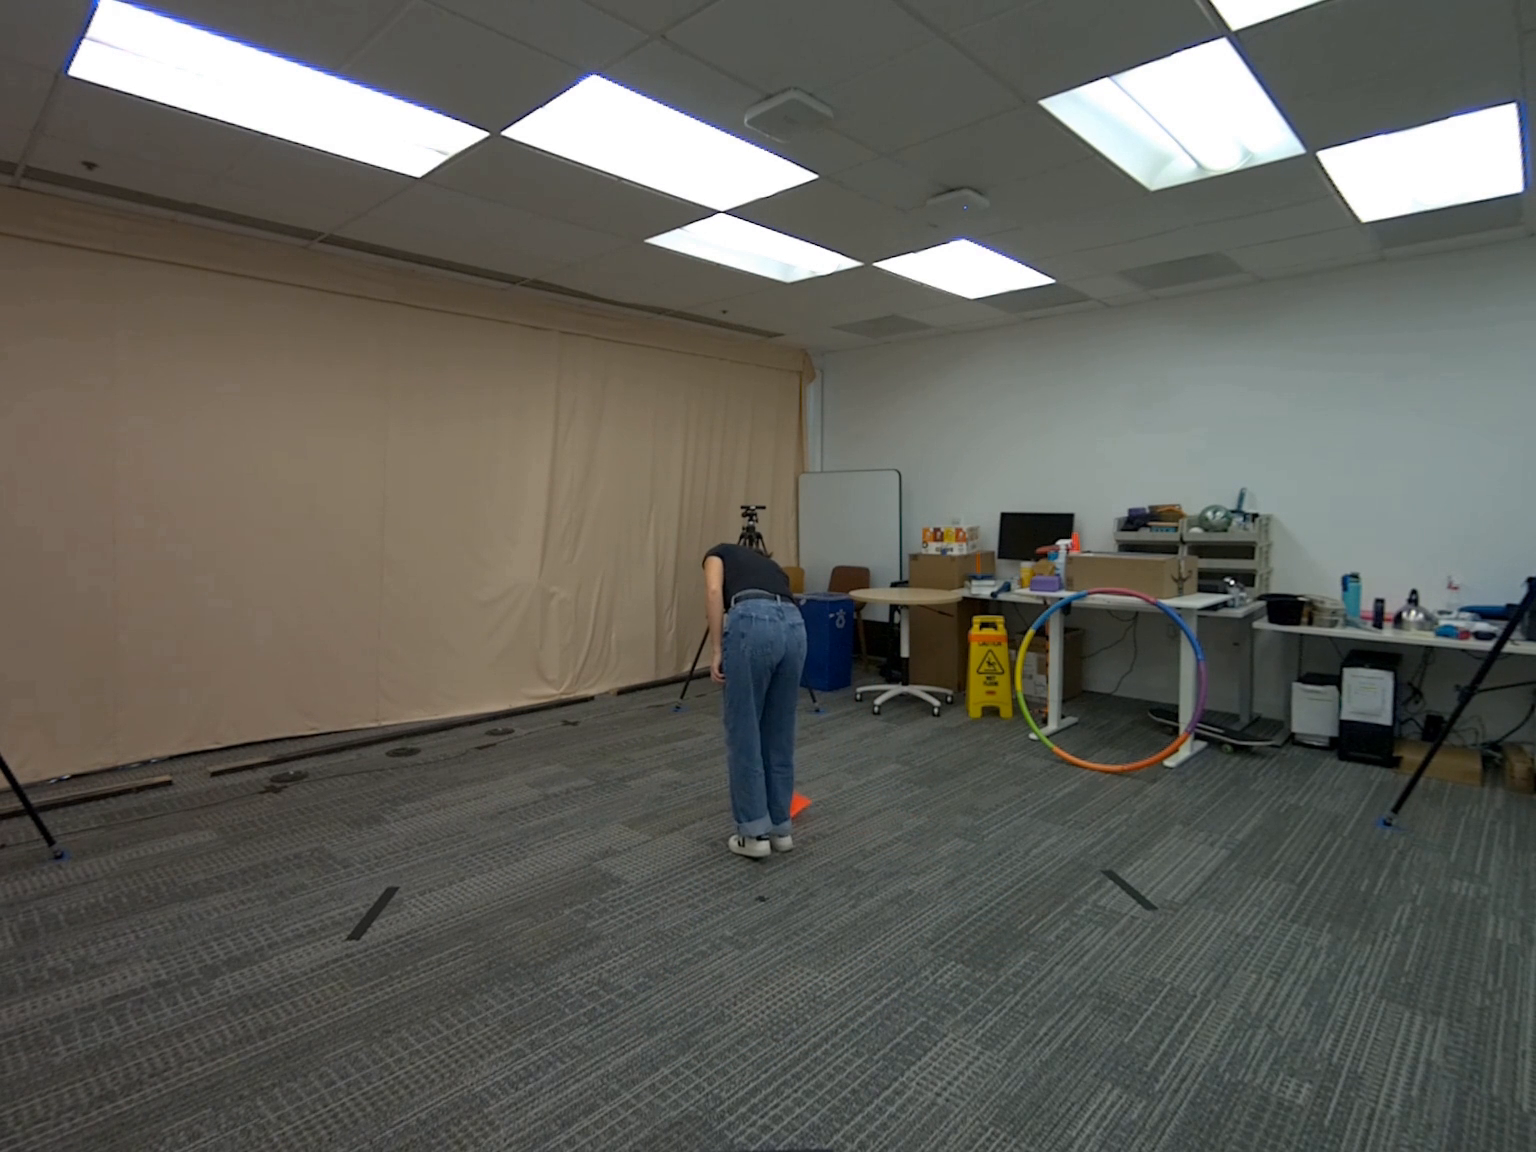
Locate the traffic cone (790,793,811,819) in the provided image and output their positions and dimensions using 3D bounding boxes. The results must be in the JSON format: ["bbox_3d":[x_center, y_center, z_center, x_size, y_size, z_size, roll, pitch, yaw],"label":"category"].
[{"bbox_3d":[0.019,0.878,3.727,0.202,0.378,0.209,-29,18,-24],"label":"traffic cone"}]
